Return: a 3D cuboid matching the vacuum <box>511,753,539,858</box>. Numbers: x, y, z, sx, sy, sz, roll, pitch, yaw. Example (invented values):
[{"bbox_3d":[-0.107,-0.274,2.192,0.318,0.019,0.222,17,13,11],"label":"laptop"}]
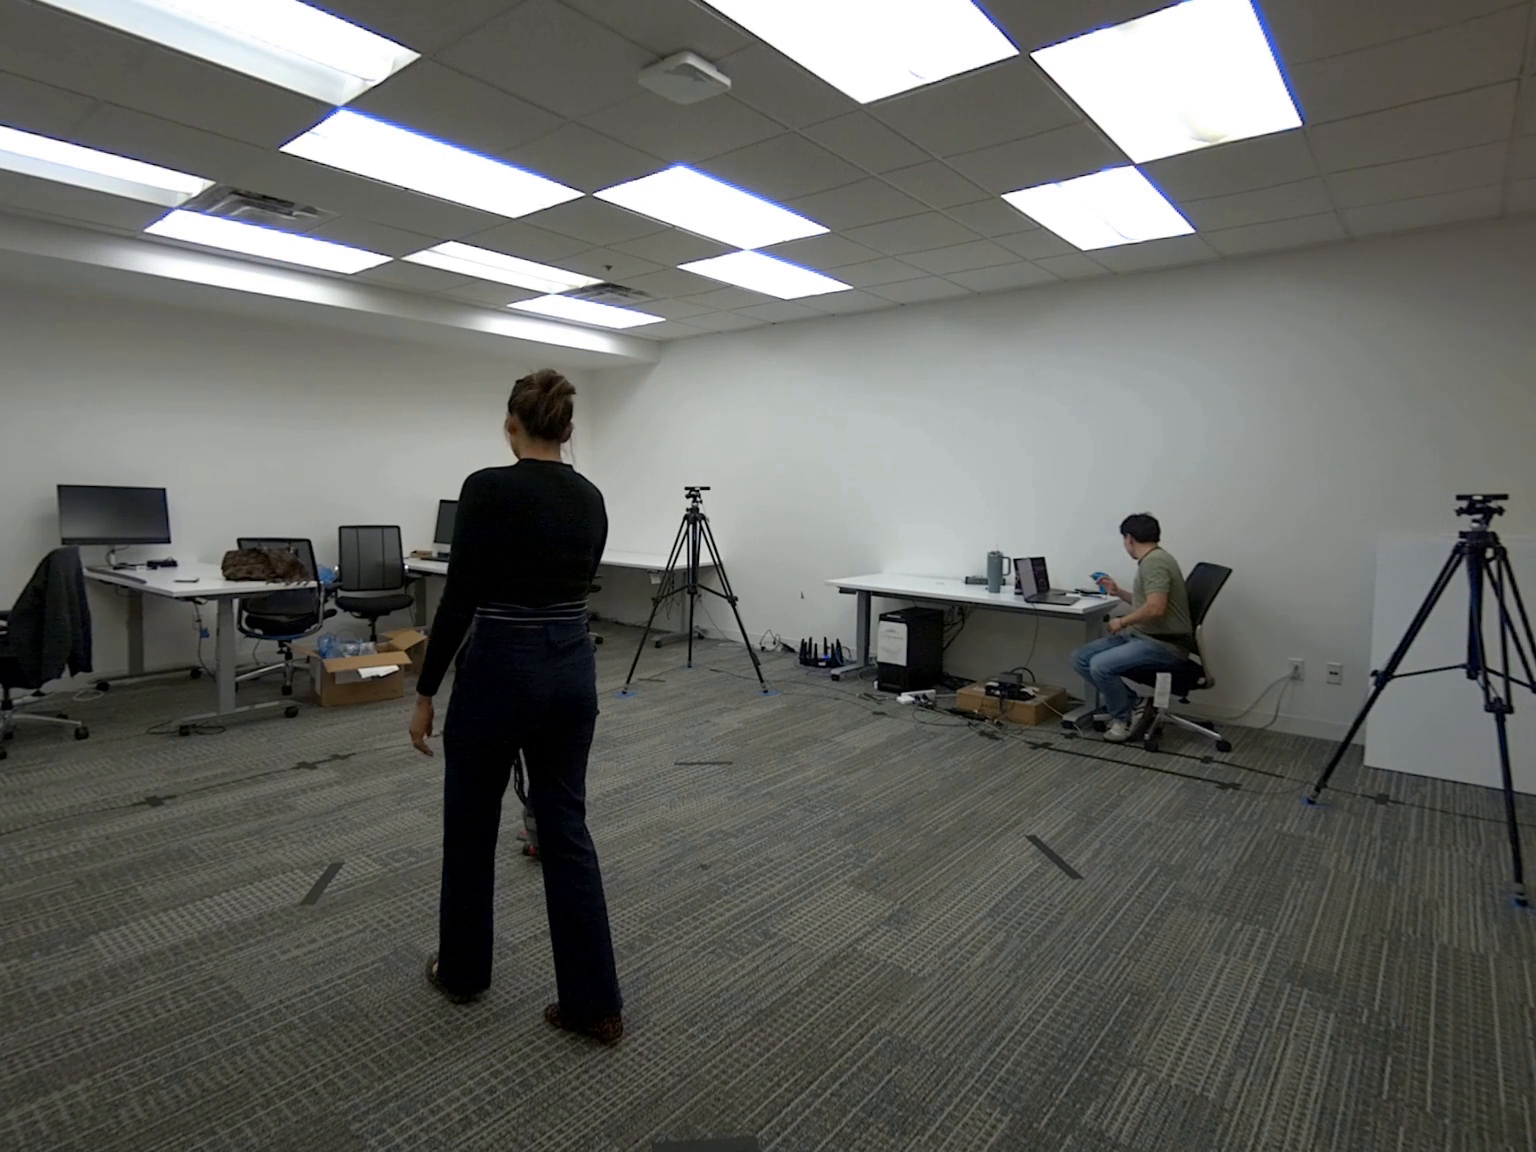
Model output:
[{"bbox_3d":[-0.791,0.678,2.828,0.254,1.023,0.147,10,46,2],"label":"vacuum"}]
